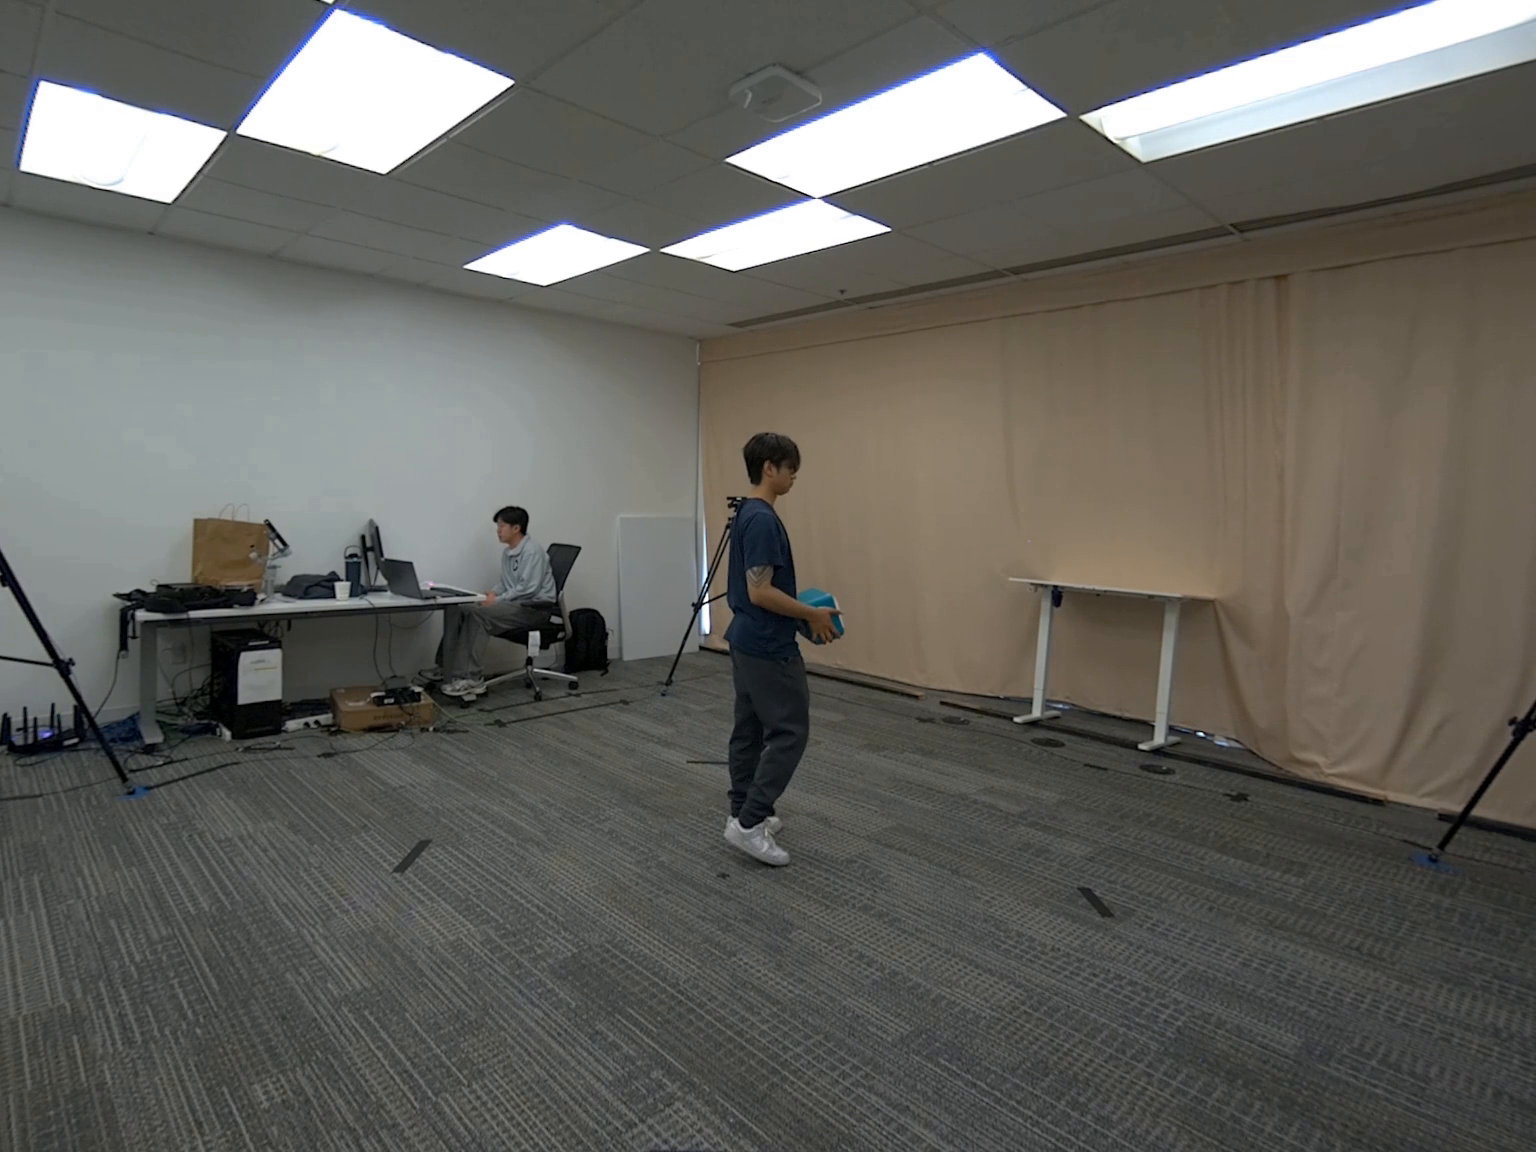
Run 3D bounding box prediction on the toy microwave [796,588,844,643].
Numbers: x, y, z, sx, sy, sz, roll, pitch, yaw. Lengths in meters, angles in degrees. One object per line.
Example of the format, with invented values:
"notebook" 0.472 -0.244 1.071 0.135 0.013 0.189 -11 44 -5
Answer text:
"toy microwave" 0.195 0.160 3.448 0.152 0.183 0.289 -19 8 -9
